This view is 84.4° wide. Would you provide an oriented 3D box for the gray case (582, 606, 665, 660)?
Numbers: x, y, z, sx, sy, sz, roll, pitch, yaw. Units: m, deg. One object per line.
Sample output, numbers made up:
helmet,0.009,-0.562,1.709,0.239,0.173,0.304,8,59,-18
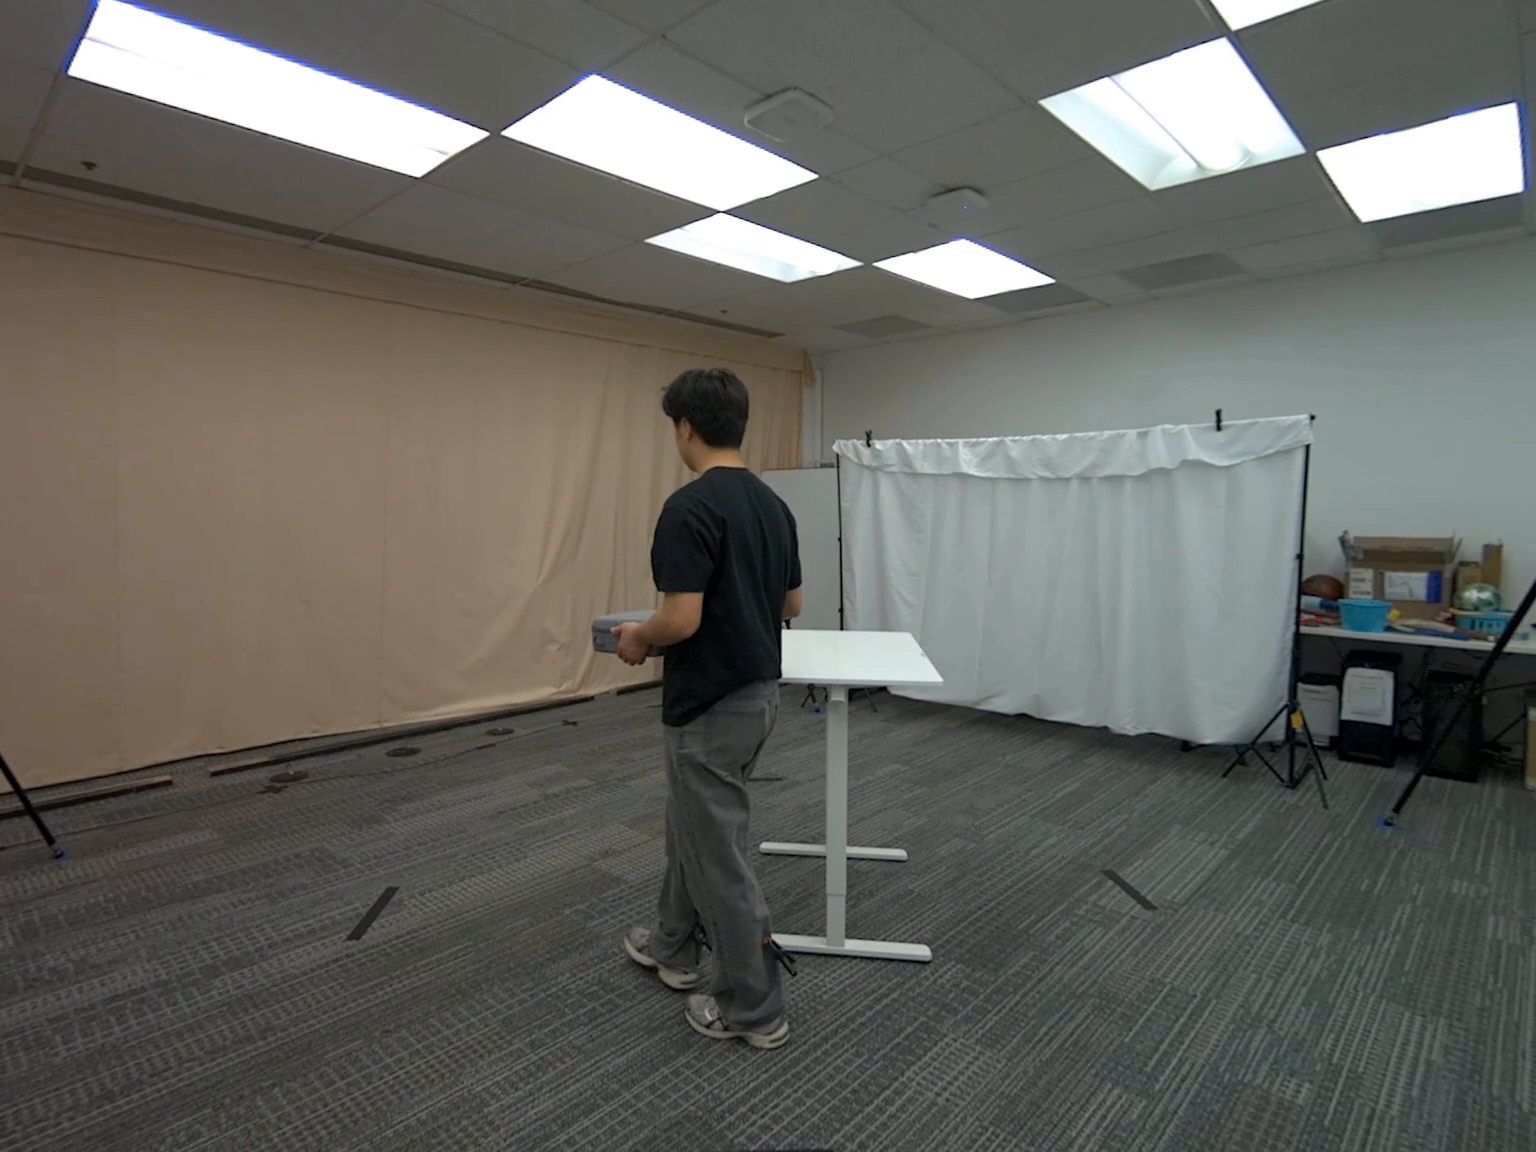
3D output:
gray case,-0.336,0.154,2.401,0.269,0.103,0.281,0,5,22
